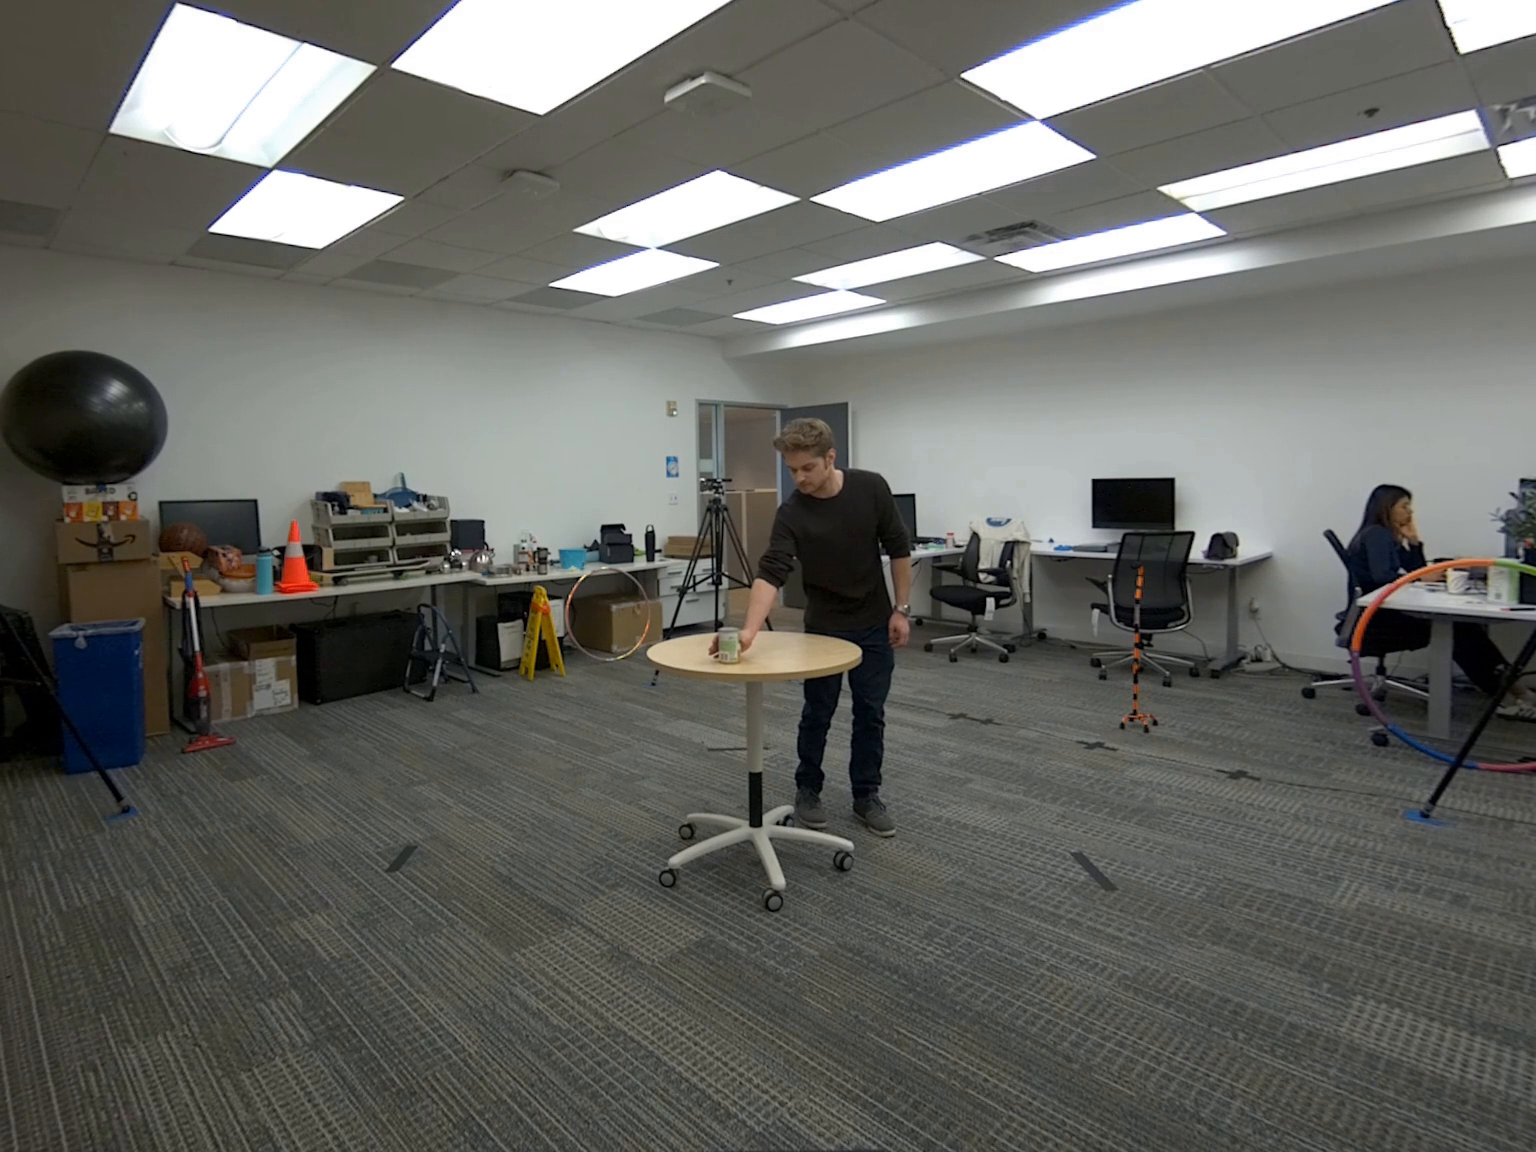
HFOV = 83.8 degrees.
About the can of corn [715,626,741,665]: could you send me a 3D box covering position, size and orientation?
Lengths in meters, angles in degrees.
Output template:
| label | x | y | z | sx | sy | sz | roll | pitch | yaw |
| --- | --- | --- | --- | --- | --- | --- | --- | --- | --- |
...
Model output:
| label | x | y | z | sx | sy | sz | roll | pitch | yaw |
| --- | --- | --- | --- | --- | --- | --- | --- | --- | --- |
| can of corn | -0.125 | 0.237 | 2.846 | 0.074 | 0.111 | 0.074 | -3 | 2 | -2 |
